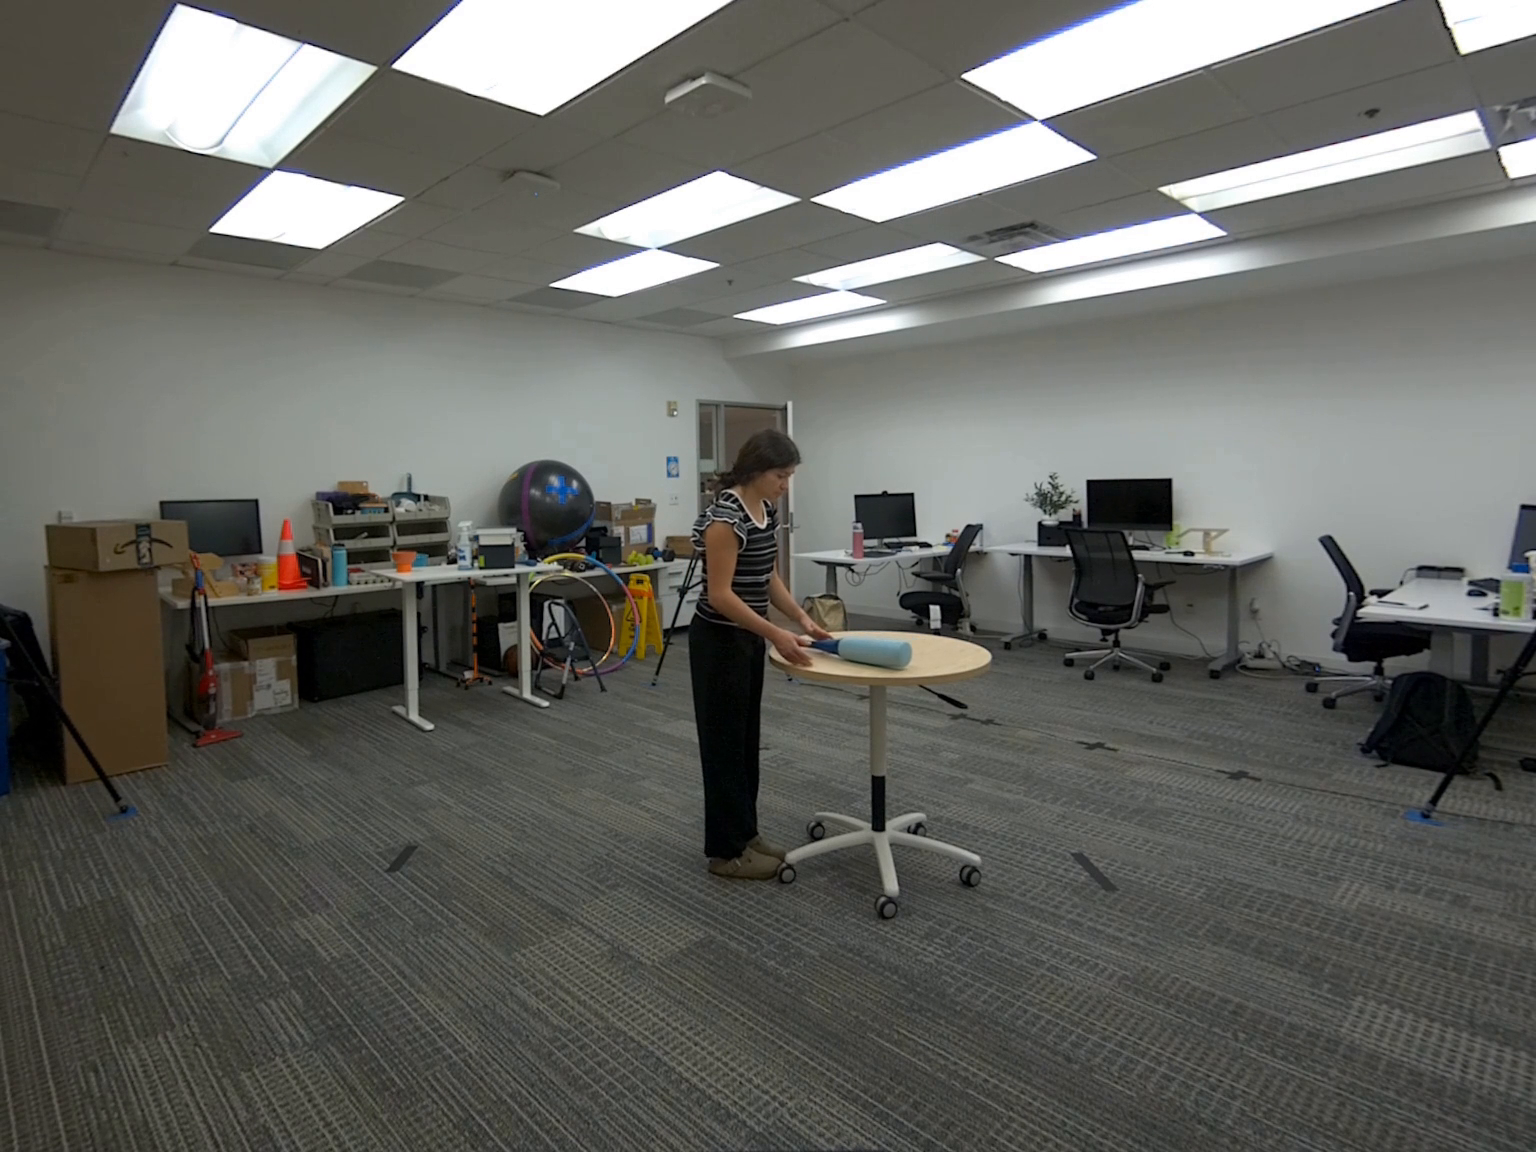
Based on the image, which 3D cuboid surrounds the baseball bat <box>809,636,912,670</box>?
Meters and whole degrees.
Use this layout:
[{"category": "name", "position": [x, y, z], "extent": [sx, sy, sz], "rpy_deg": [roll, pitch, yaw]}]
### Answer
[{"category": "baseball bat", "position": [0.237, 0.244, 2.894], "extent": [0.559, 0.089, 0.087], "rpy_deg": [2, 5, 45]}]
